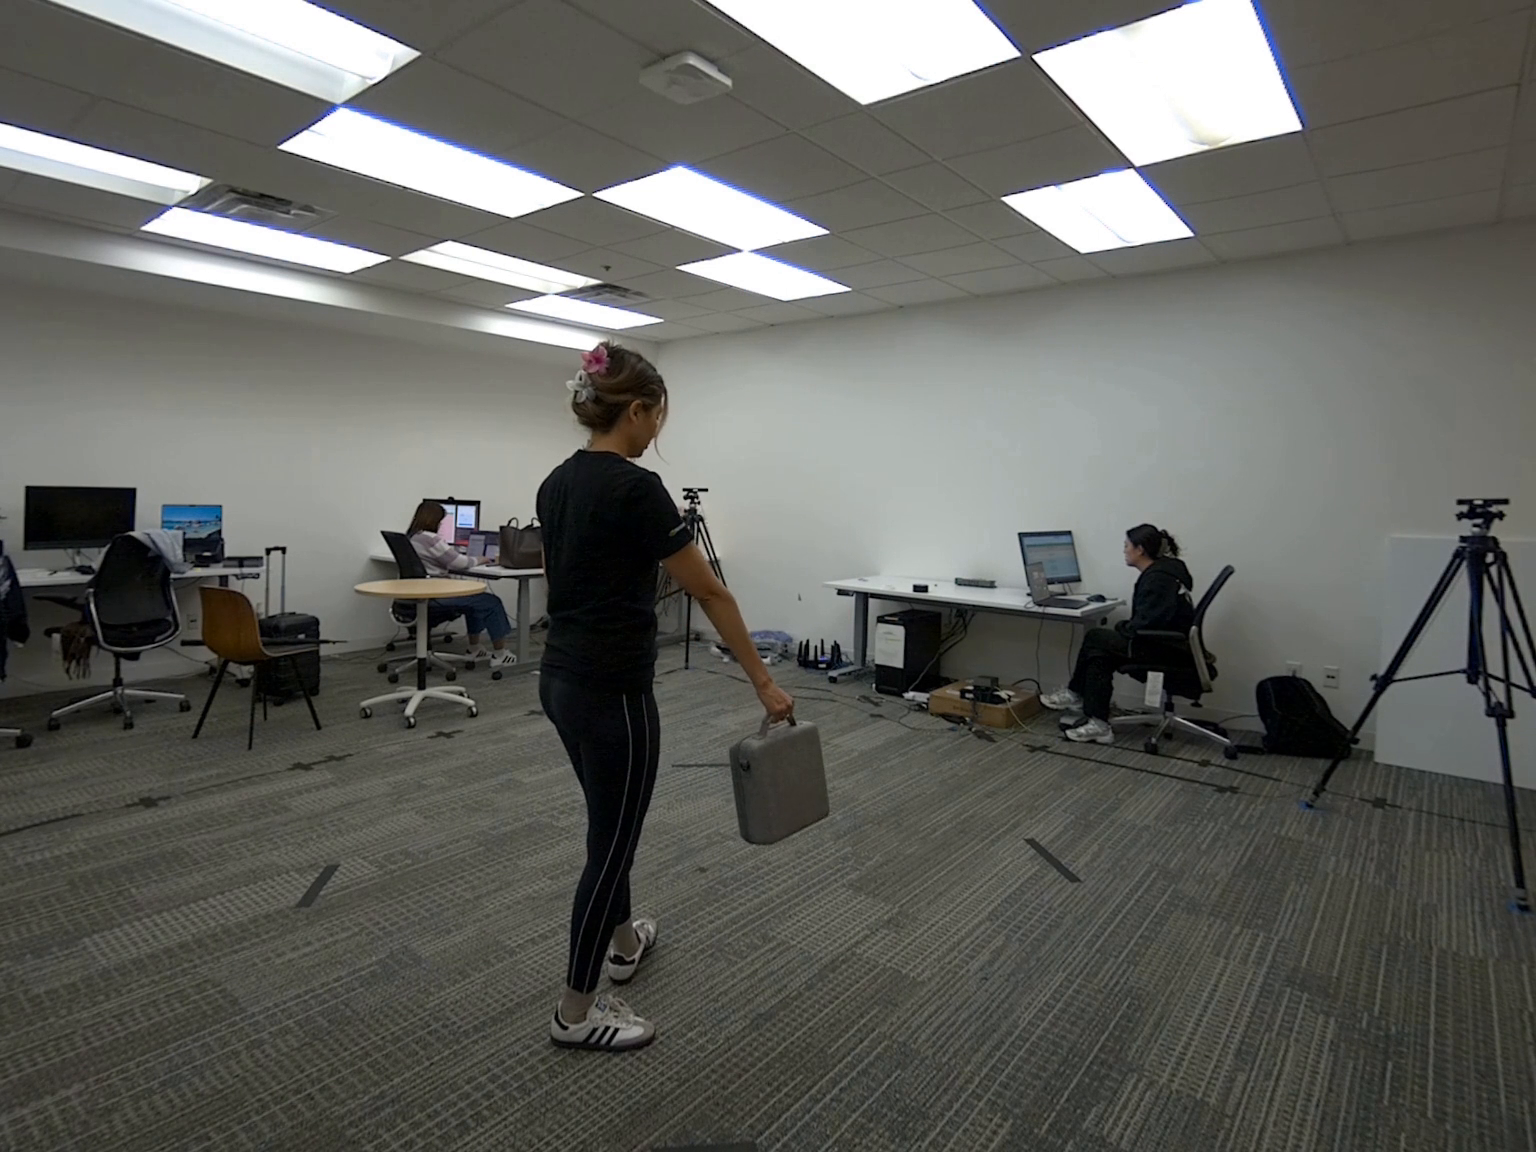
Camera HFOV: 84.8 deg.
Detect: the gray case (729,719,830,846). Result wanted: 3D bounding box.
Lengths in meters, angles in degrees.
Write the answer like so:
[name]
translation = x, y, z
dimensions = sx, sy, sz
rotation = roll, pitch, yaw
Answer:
[gray case]
translation = 0.022, 0.504, 2.125
dimensions = 0.250, 0.261, 0.107
rotation = -9, 0, -44
